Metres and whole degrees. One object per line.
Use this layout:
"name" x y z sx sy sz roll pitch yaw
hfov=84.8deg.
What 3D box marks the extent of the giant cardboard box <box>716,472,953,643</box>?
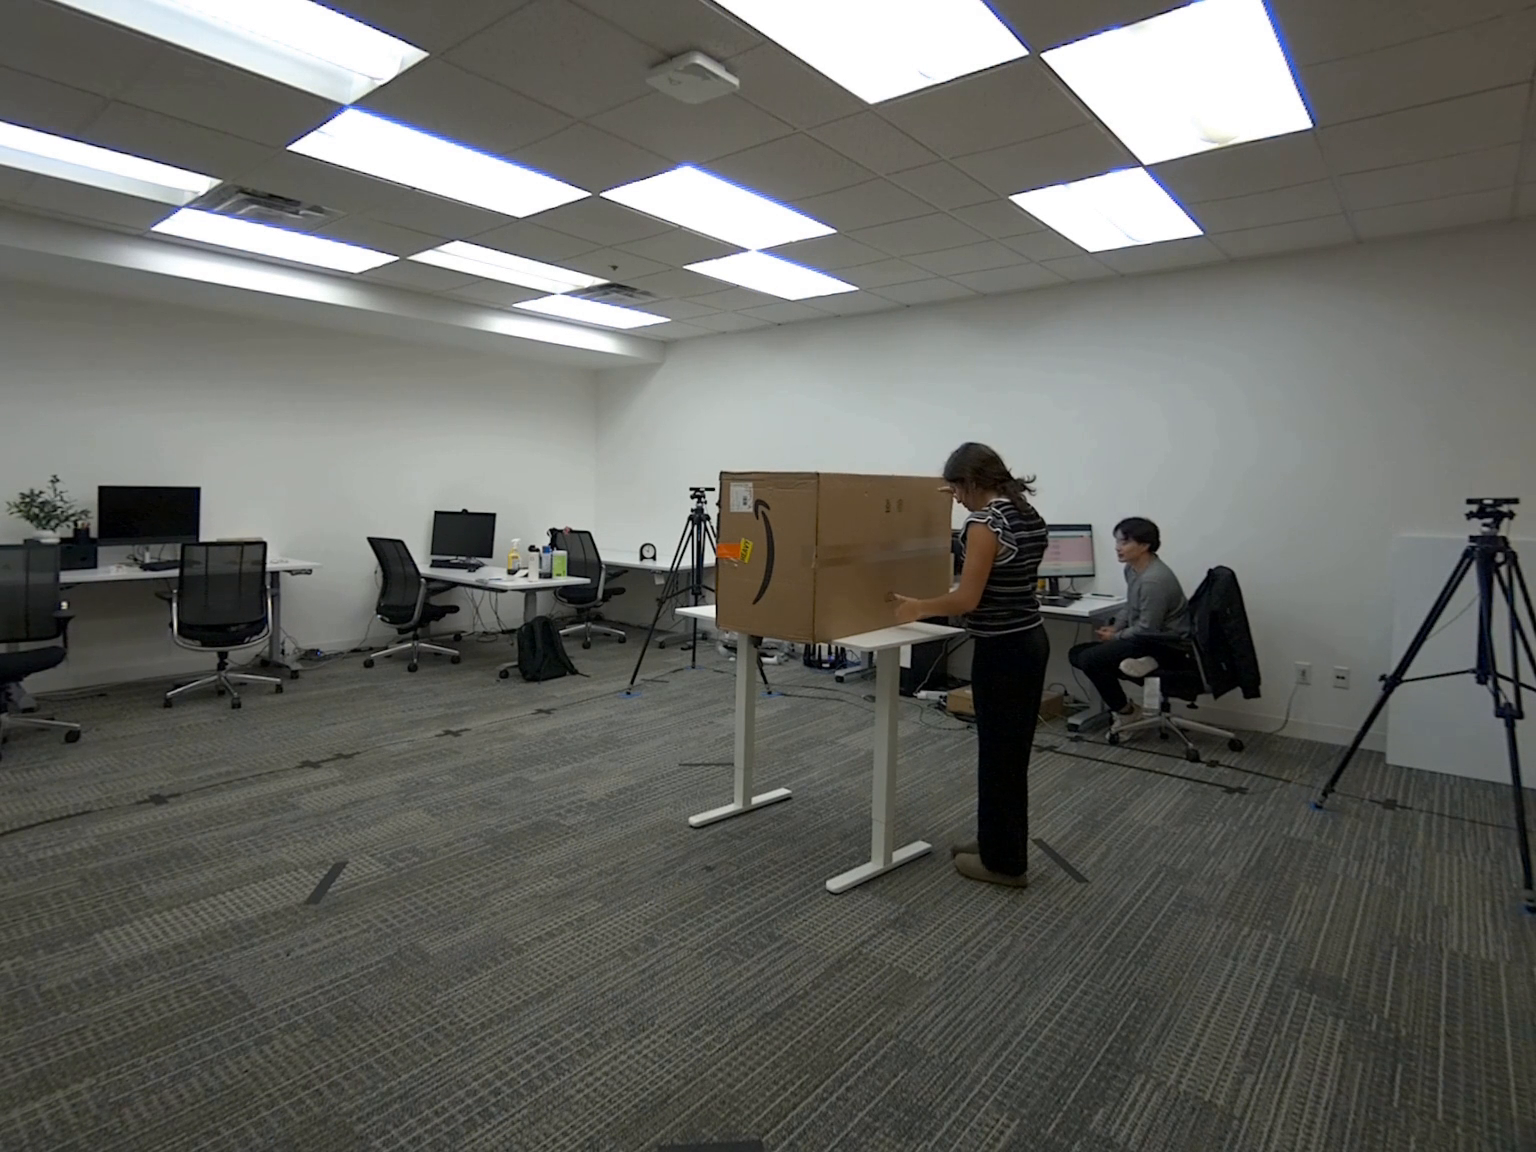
"giant cardboard box" 0.277 -0.113 3.310 0.440 0.575 0.996 4 6 38
